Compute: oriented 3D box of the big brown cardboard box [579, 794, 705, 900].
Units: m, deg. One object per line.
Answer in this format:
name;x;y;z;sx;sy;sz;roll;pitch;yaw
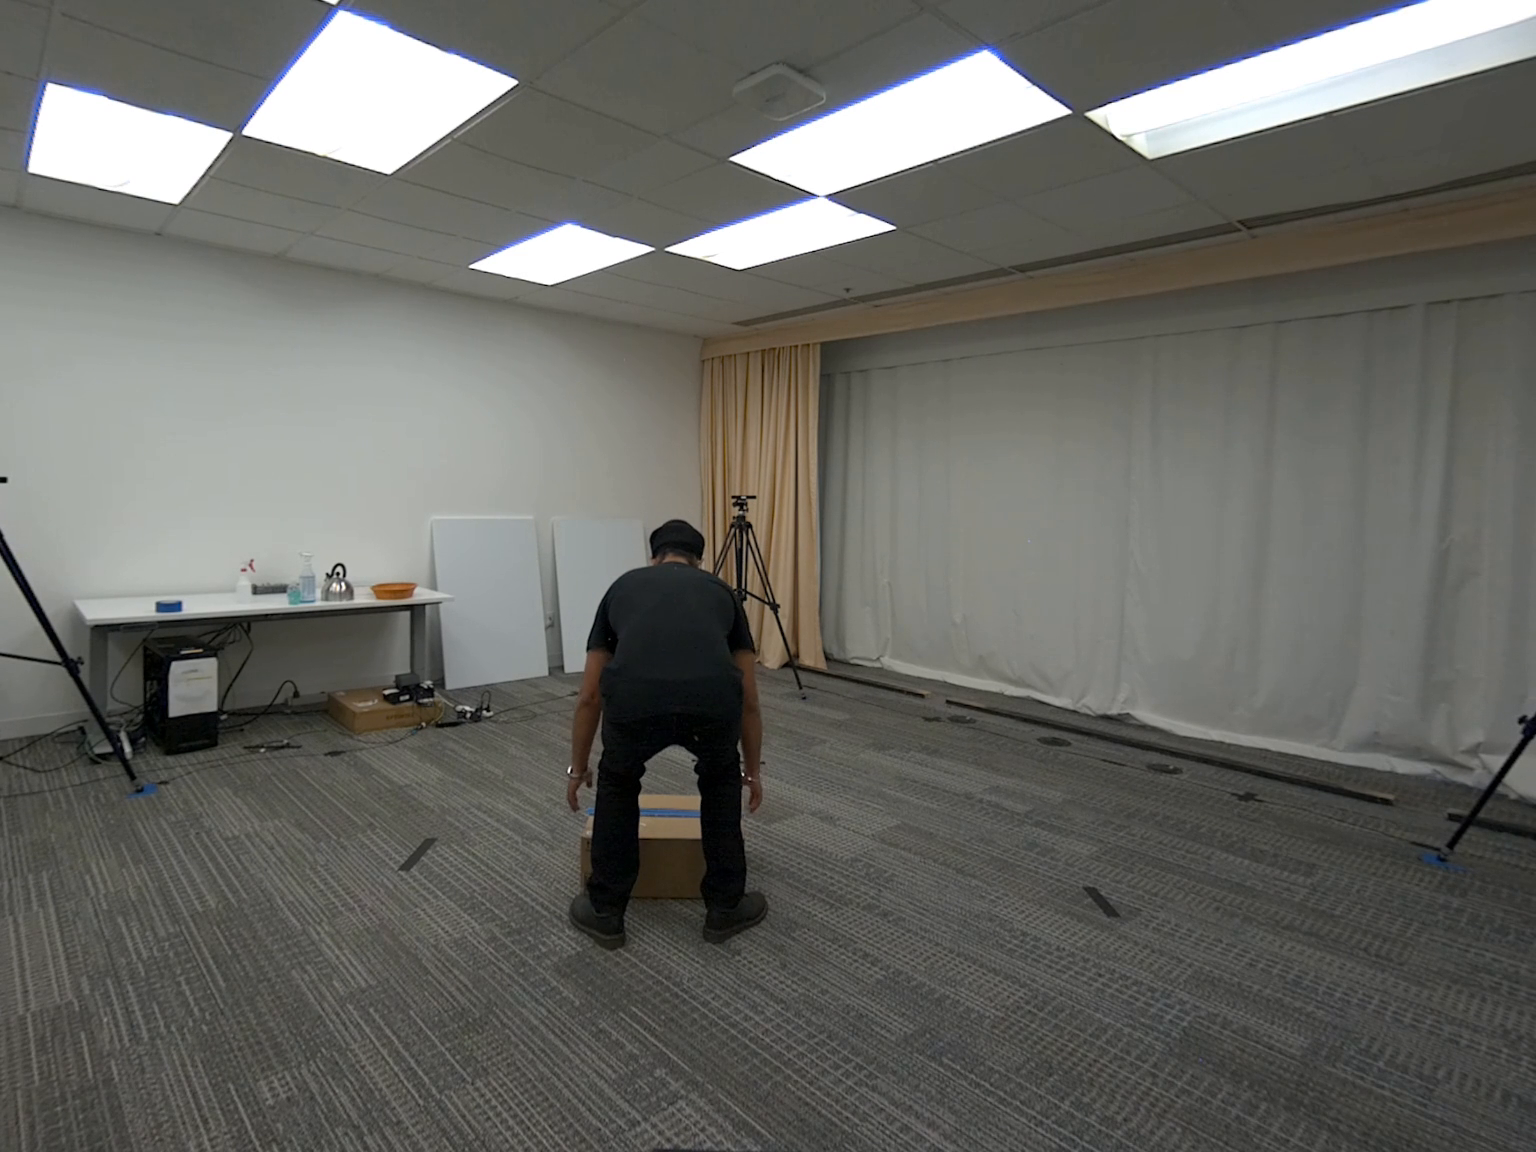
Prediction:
big brown cardboard box;-0.383;0.992;3.109;0.588;0.232;0.419;2;4;-2
